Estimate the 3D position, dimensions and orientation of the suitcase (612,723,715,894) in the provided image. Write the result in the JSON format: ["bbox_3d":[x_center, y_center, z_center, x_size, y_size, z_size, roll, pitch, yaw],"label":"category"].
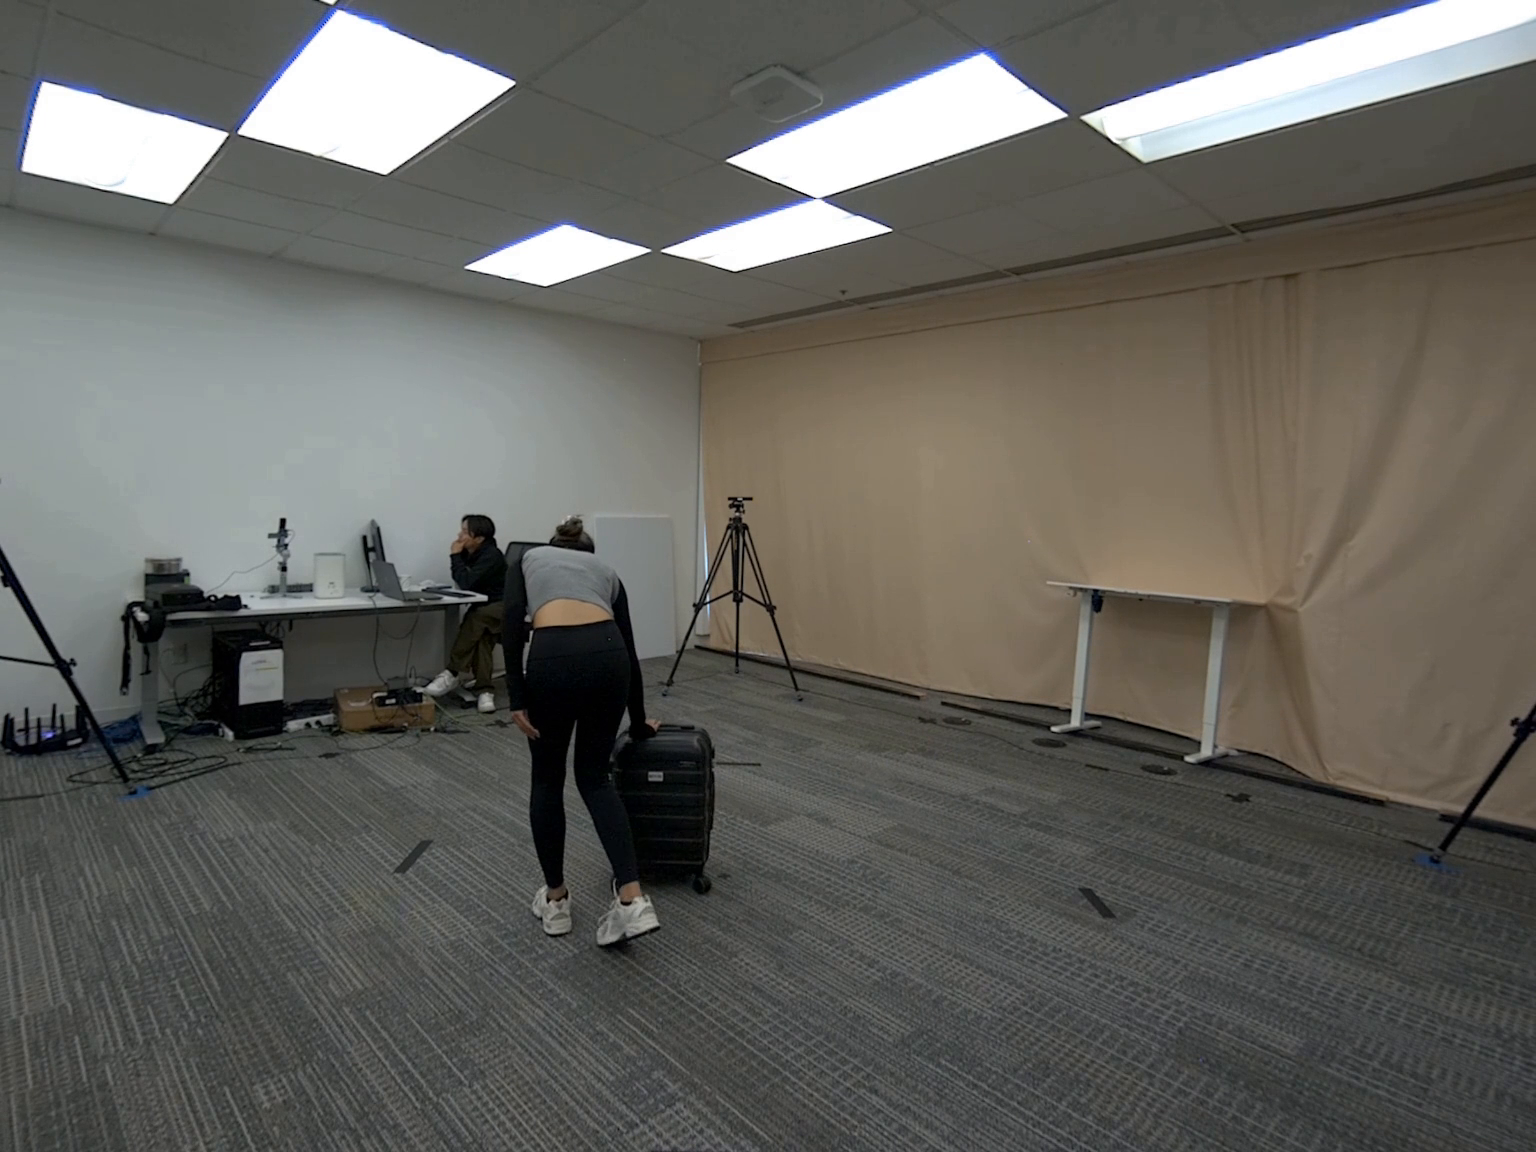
[{"bbox_3d":[-0.389,0.828,3.088,0.375,0.548,0.249,1,3,0],"label":"suitcase"}]
